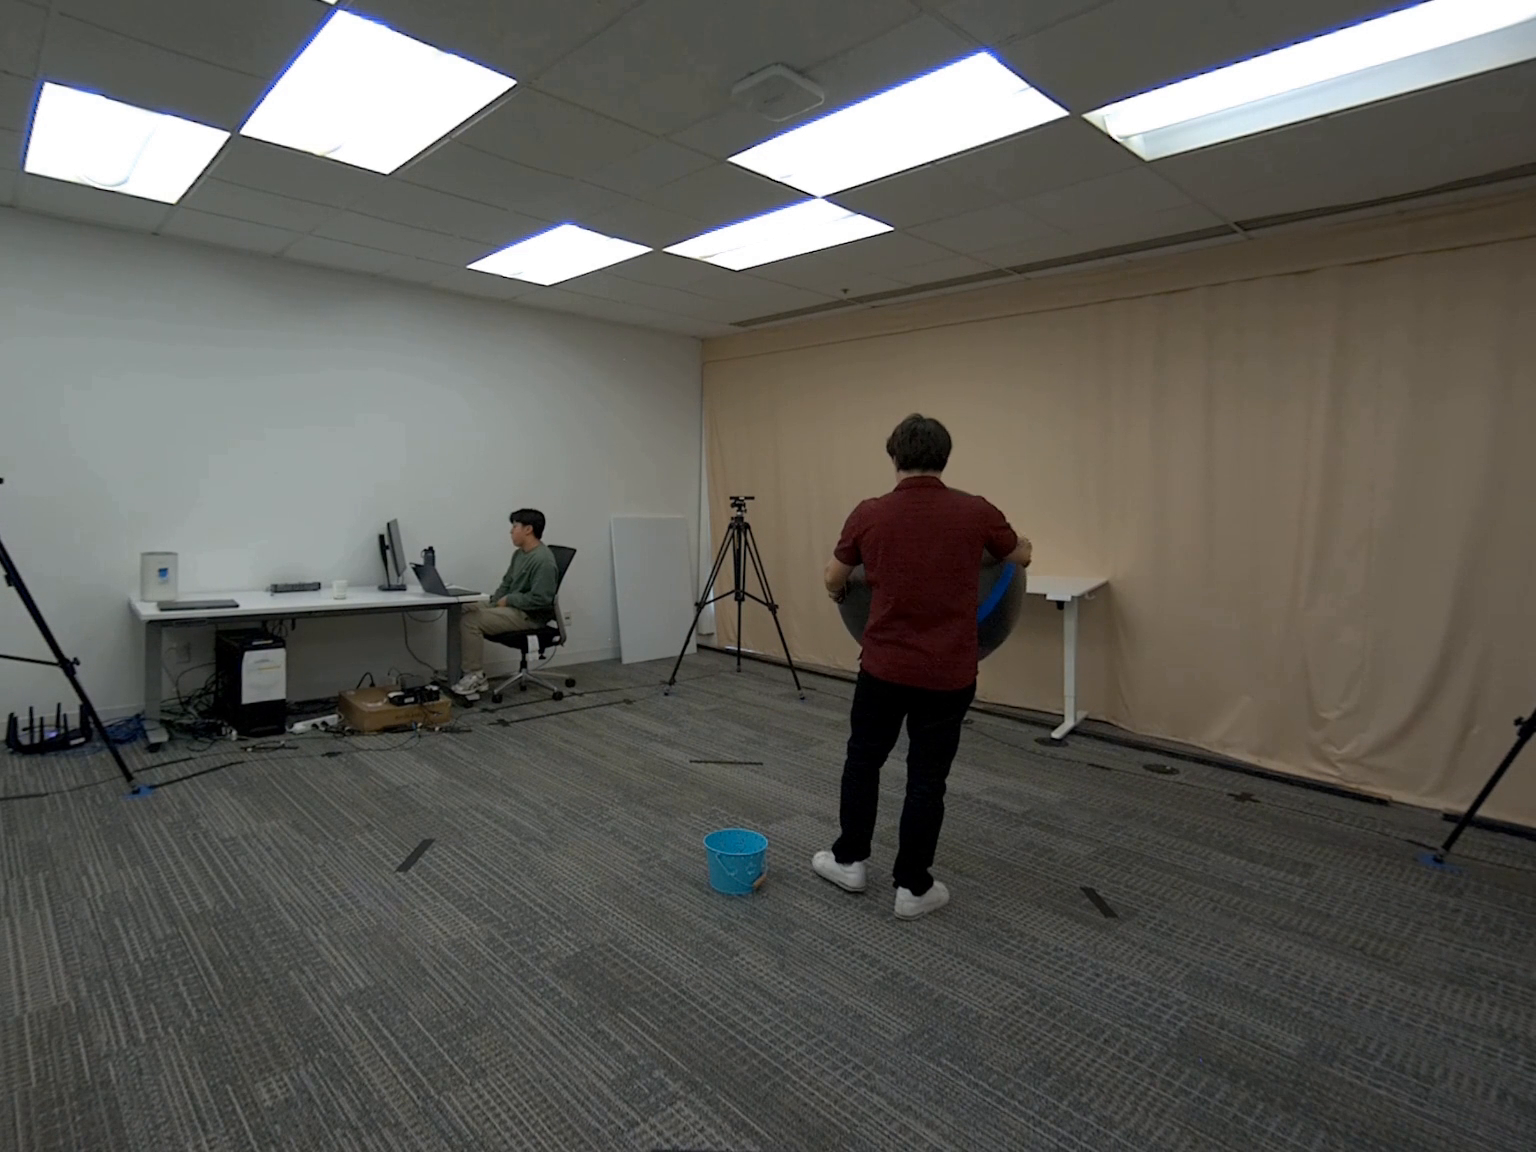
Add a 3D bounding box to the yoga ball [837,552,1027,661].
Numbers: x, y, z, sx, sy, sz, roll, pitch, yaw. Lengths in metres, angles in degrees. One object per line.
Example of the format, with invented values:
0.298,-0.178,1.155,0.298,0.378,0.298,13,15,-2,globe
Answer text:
0.654,0.018,3.393,0.757,0.756,0.761,1,4,-1,yoga ball
